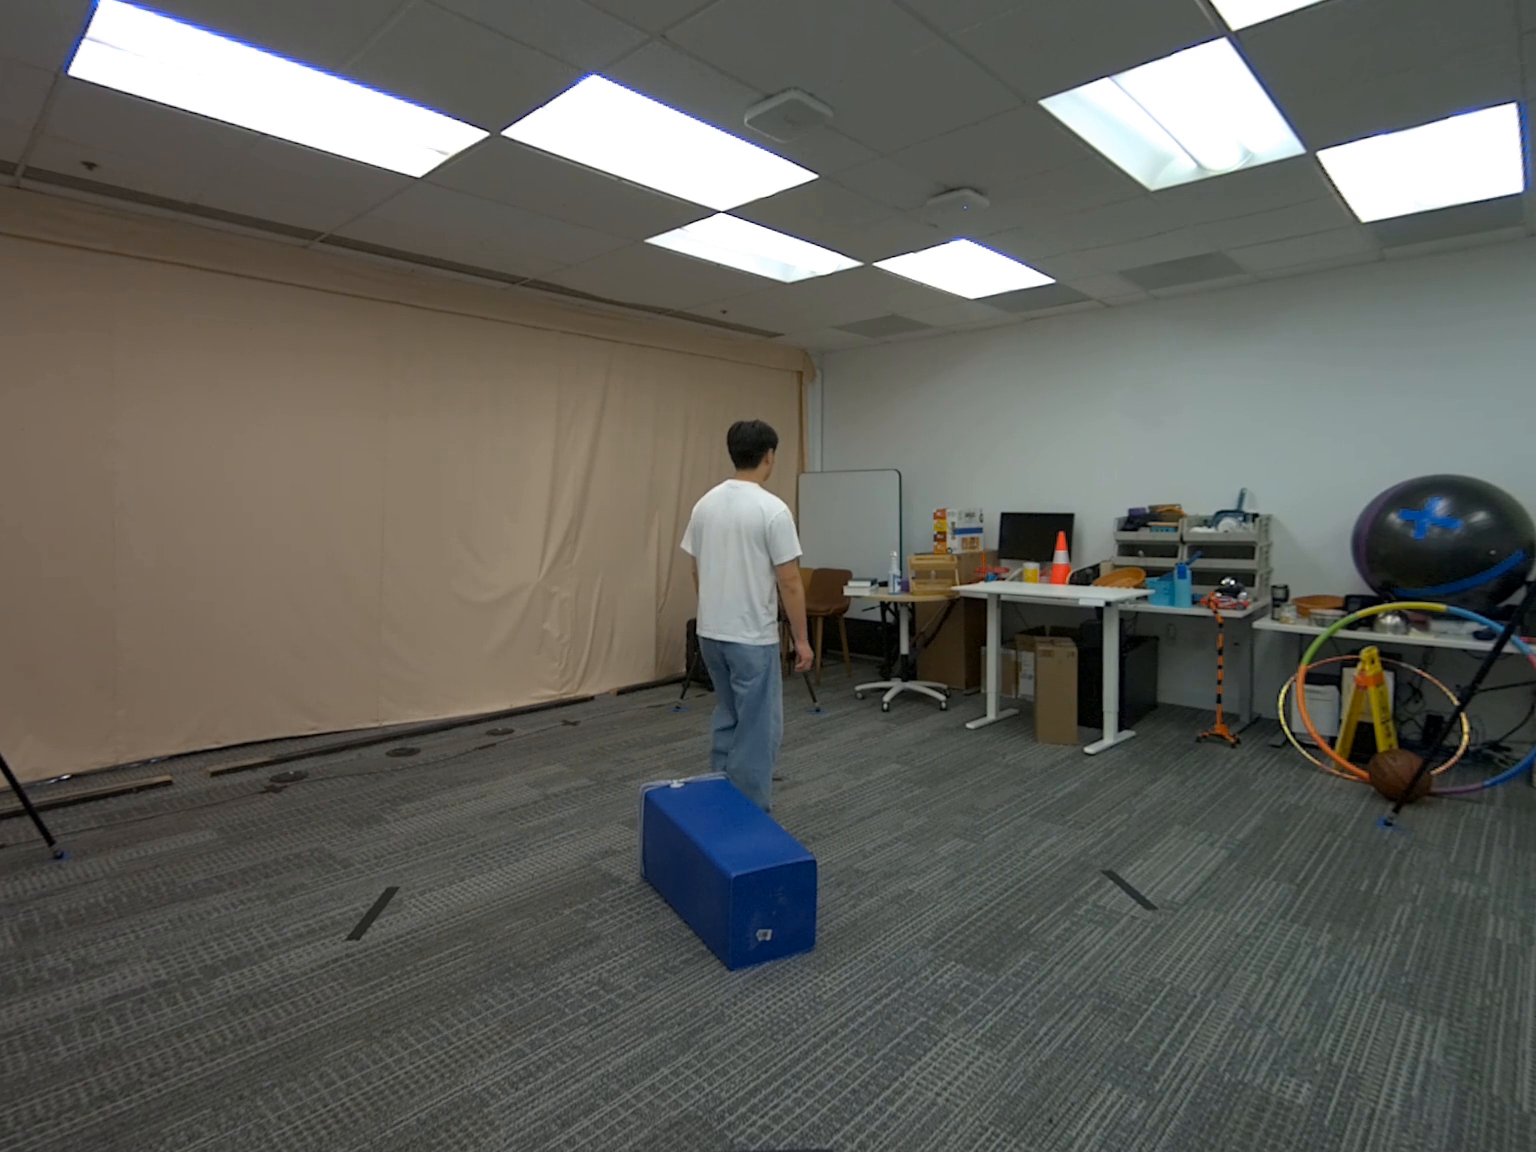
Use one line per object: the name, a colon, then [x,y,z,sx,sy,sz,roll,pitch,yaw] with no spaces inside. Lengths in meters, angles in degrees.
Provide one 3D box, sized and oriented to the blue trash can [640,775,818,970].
blue trash can: [-0.146,0.986,2.881,0.364,0.376,0.734,-2,7,-28]
